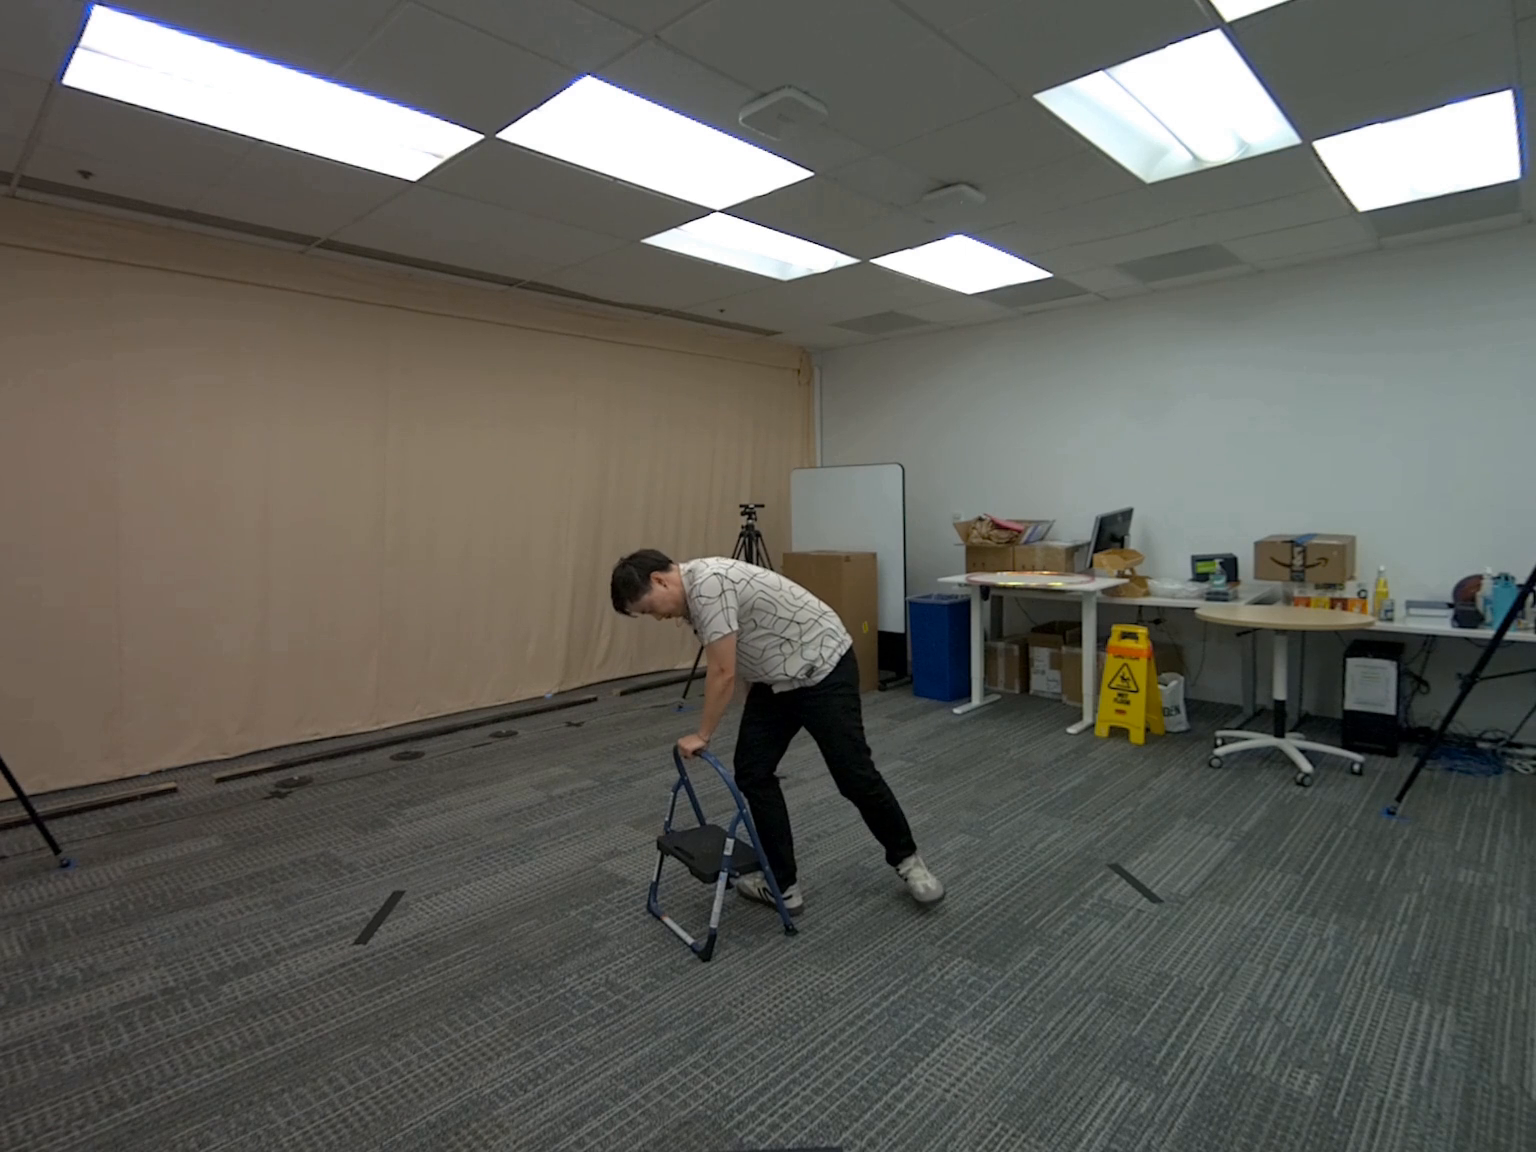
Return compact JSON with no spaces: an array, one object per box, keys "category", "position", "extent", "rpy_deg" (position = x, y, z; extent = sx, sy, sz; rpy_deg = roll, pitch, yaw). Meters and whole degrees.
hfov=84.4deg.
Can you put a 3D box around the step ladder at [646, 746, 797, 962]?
[{"category":"step ladder","position":[-0.171,0.856,2.808],"extent":[0.339,0.605,0.444],"rpy_deg":[-3,4,-33]}]
